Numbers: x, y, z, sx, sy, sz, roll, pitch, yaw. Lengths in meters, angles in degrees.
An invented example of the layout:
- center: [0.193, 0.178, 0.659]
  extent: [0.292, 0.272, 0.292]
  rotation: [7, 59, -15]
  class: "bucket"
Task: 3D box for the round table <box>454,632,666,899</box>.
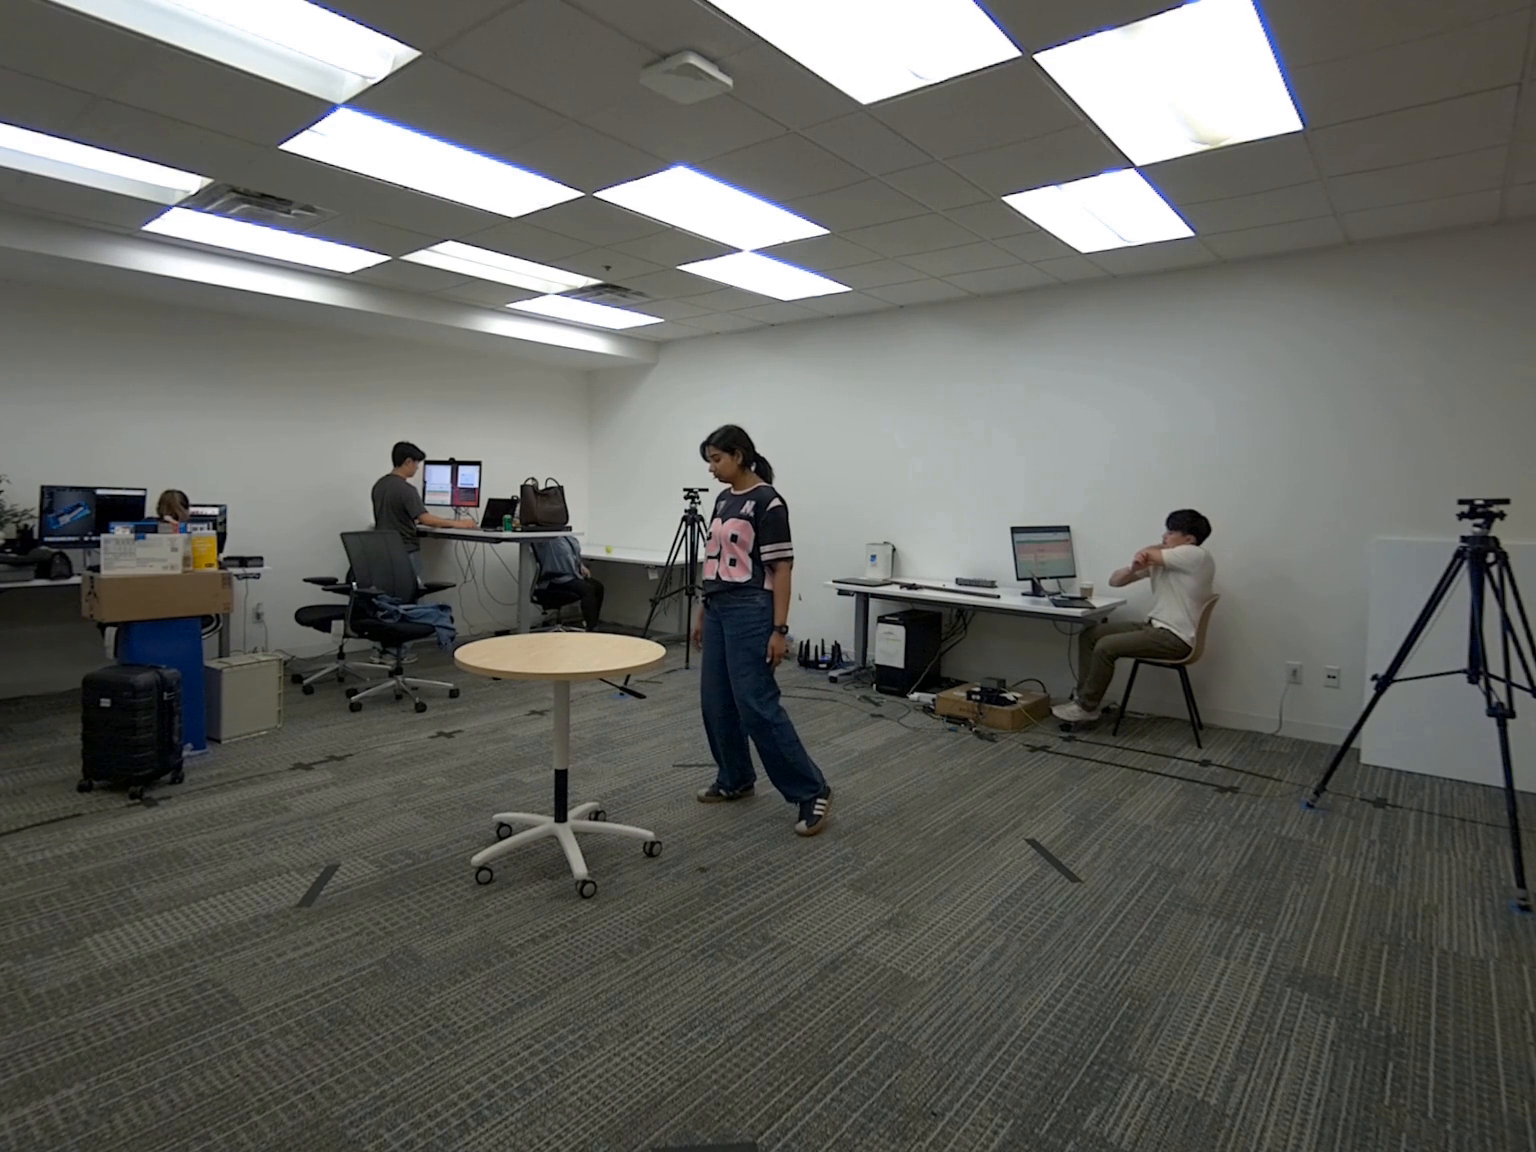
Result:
- center: [-0.777, 0.665, 3.171]
  extent: [0.763, 0.791, 0.768]
  rotation: [1, 4, -2]
  class: "round table"
